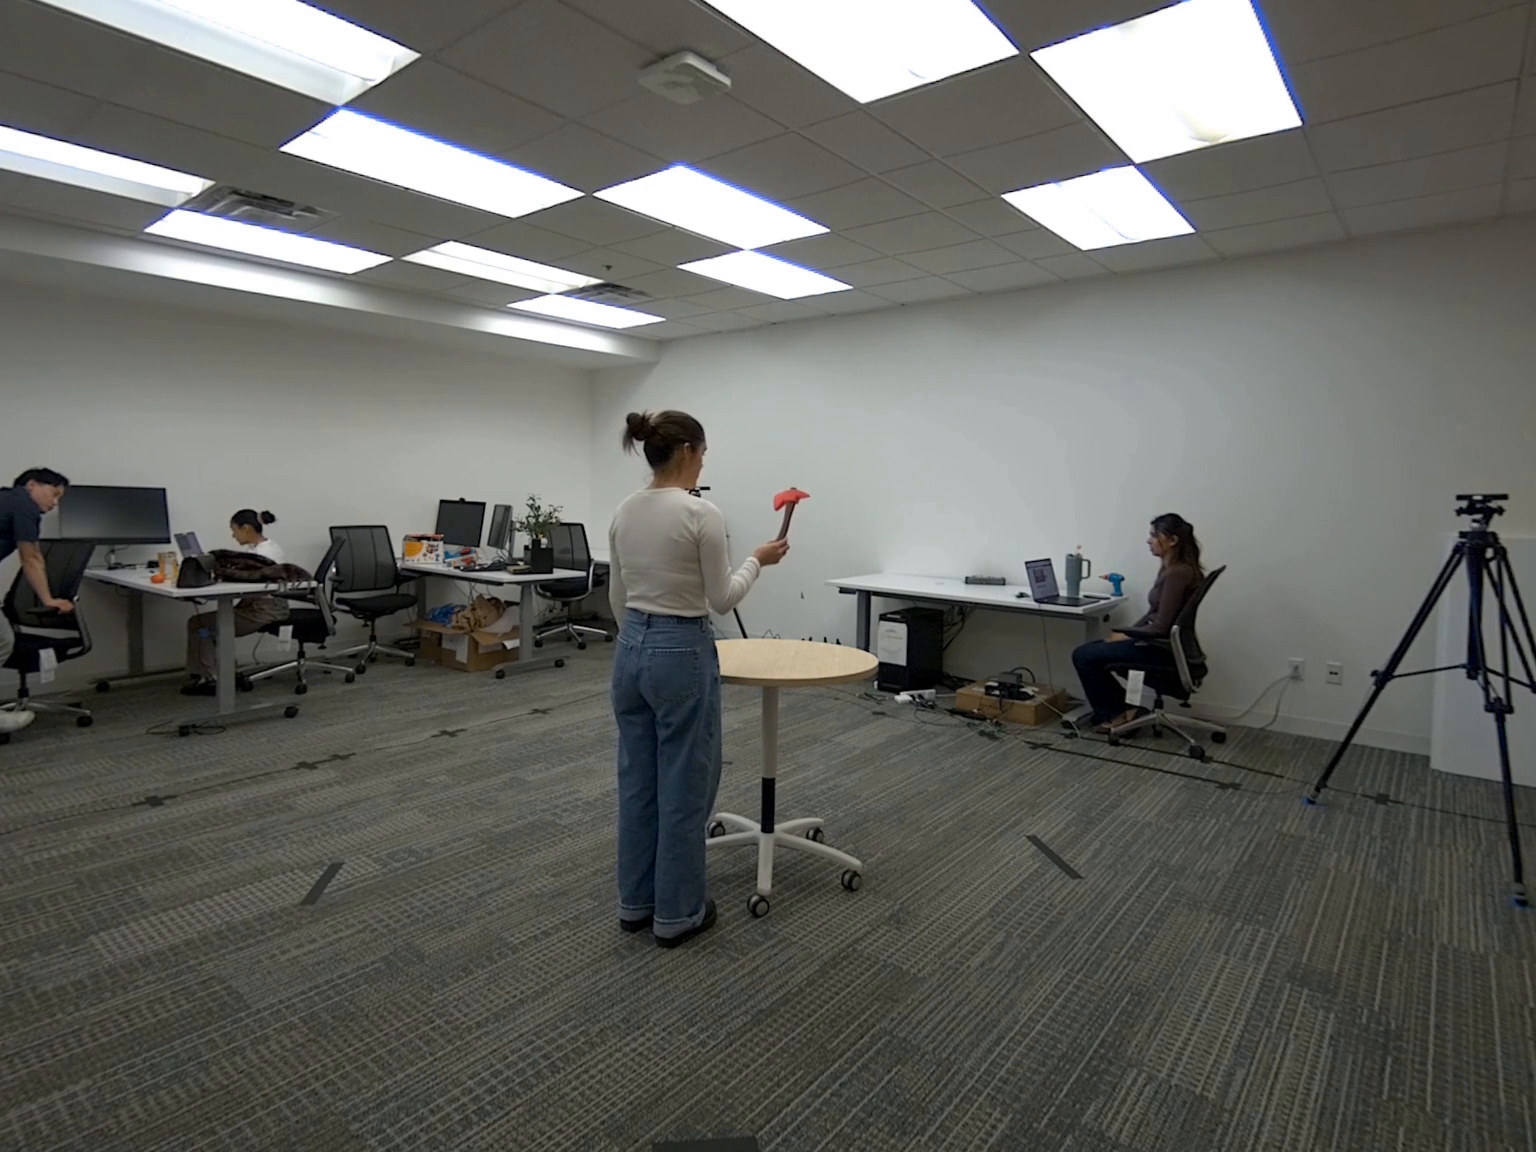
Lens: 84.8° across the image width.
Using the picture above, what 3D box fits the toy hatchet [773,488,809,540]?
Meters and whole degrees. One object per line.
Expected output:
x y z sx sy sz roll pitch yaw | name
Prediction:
0.021 -0.172 2.791 0.136 0.271 0.028 23 -13 39 | toy hatchet
